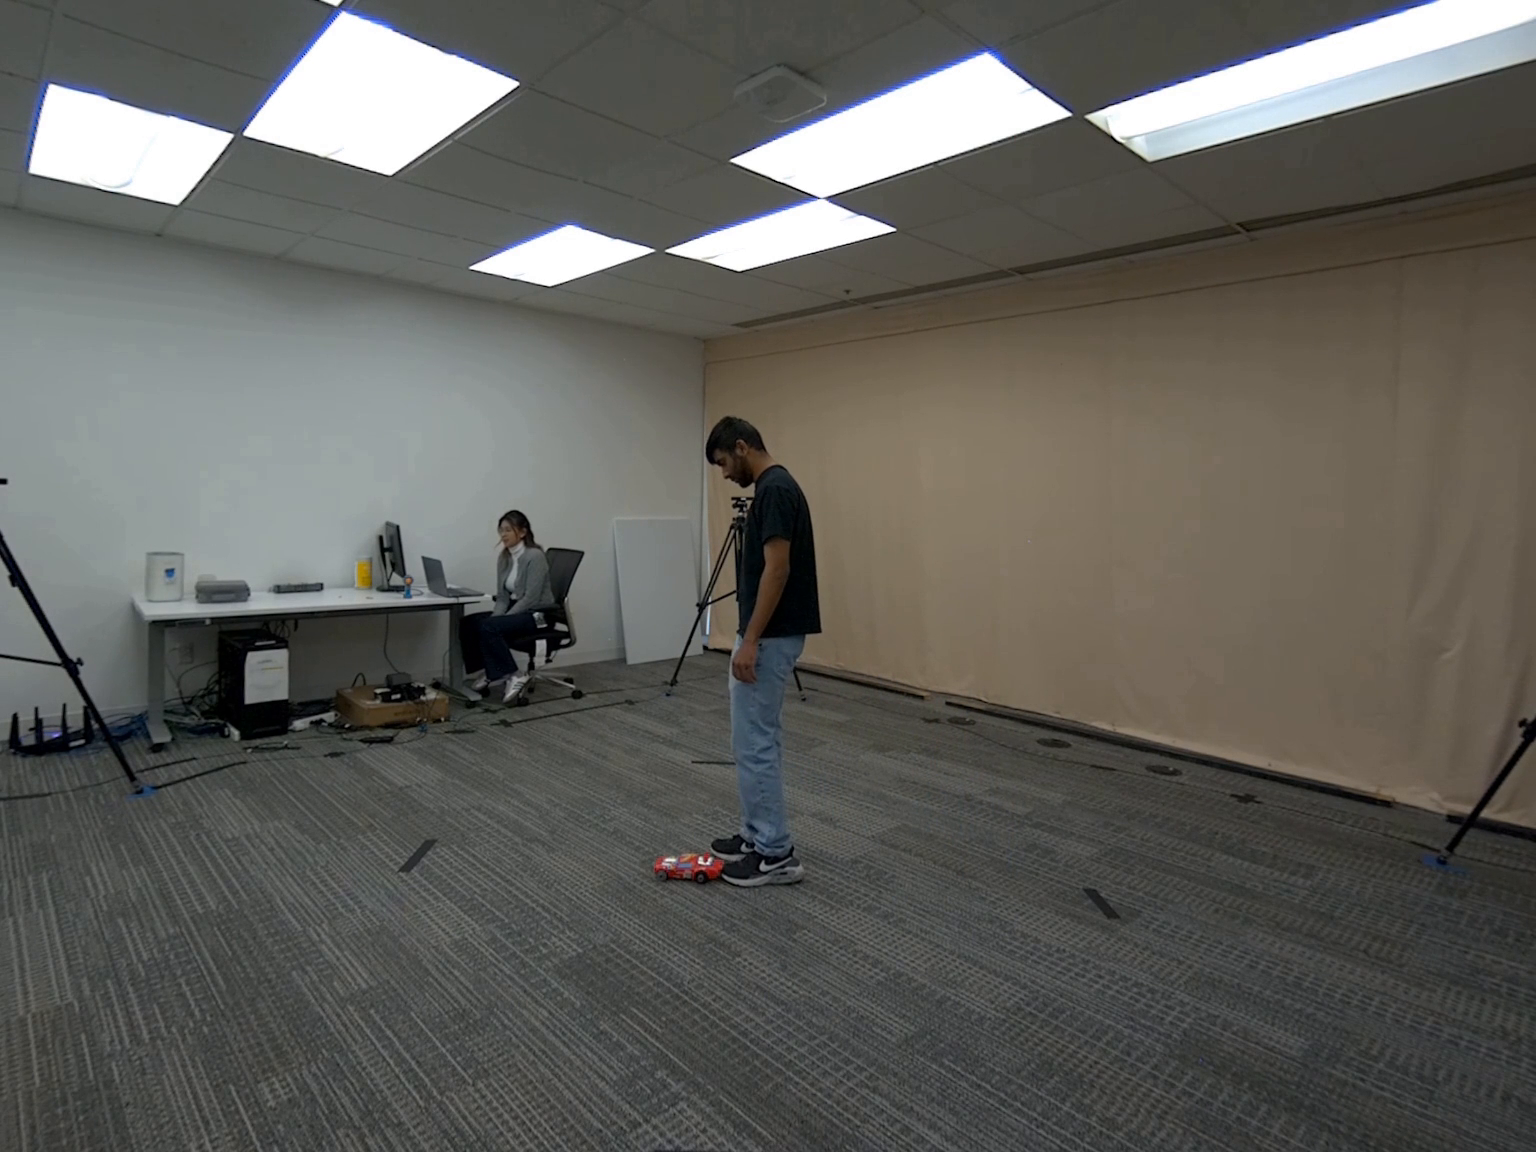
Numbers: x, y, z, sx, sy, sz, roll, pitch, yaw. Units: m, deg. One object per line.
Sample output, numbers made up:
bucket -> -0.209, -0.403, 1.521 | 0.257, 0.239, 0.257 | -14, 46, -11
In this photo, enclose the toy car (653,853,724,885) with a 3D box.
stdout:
toy car -> -0.293, 1.067, 3.089 | 0.256, 0.083, 0.130 | -10, 3, 8
